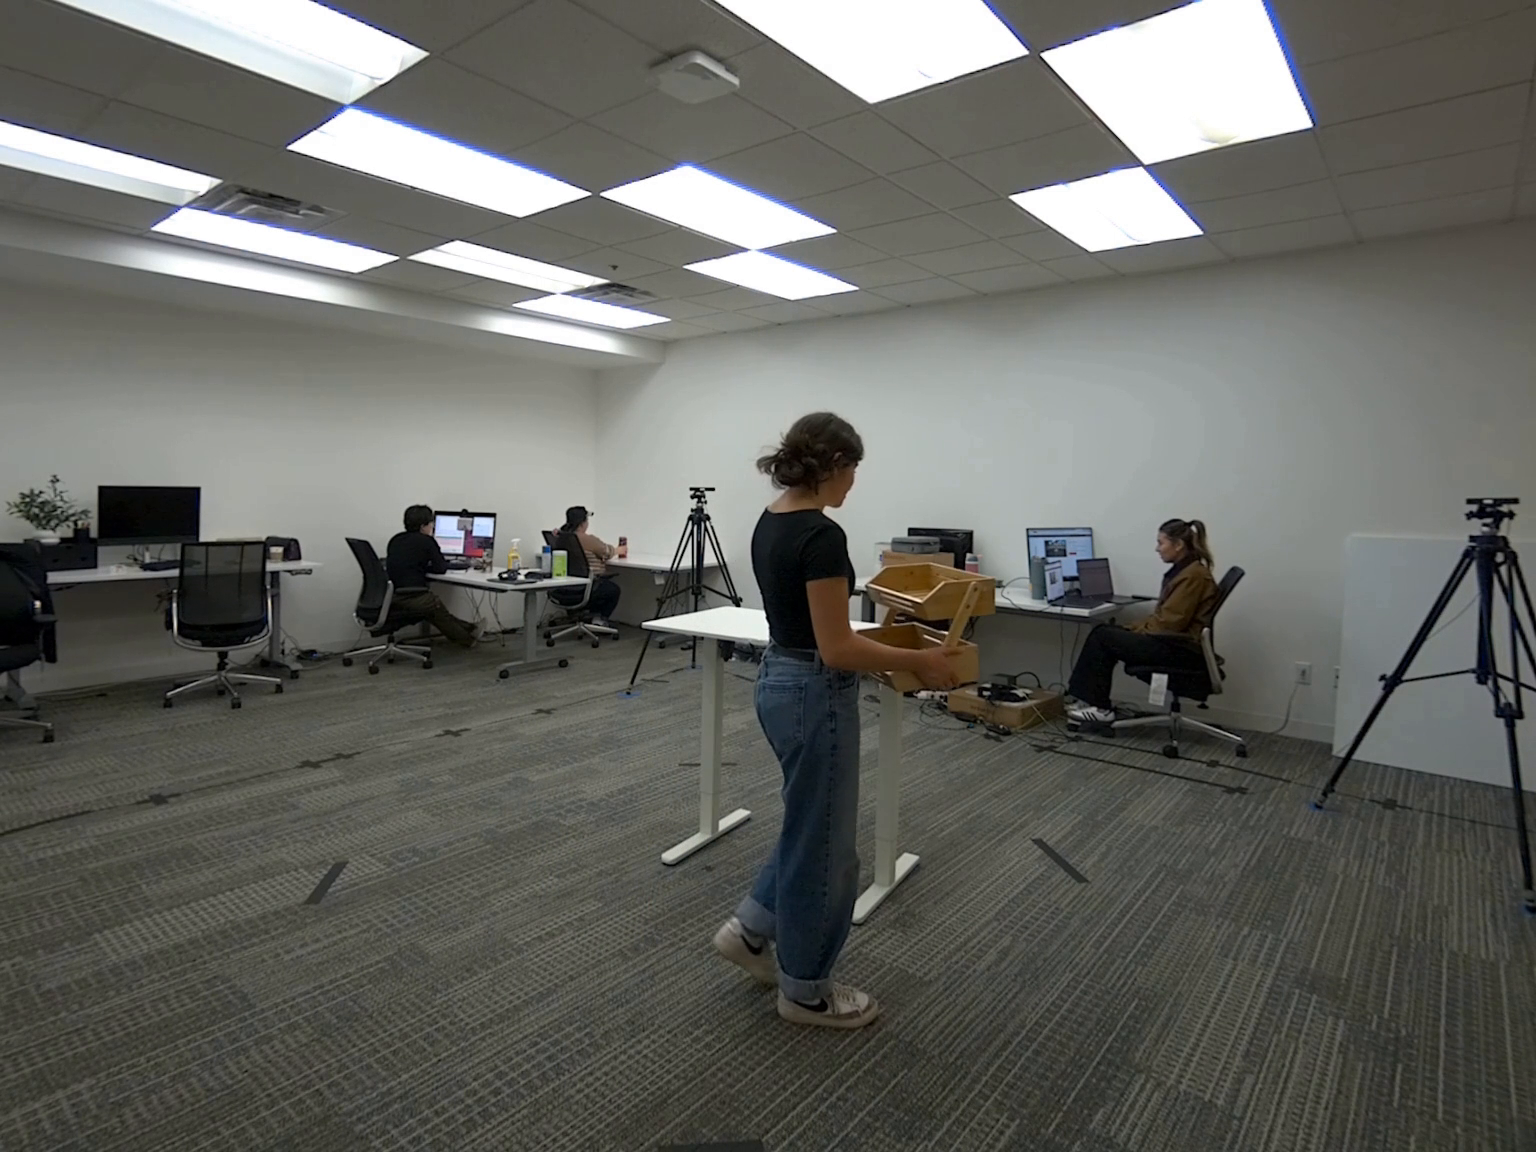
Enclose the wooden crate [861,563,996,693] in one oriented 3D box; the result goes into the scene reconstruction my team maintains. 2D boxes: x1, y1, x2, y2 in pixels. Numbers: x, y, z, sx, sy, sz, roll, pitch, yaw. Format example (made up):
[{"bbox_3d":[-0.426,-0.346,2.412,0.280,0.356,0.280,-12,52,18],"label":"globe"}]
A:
[{"bbox_3d":[0.364,0.123,2.238,0.297,0.271,0.332,-5,8,-18],"label":"wooden crate"}]
